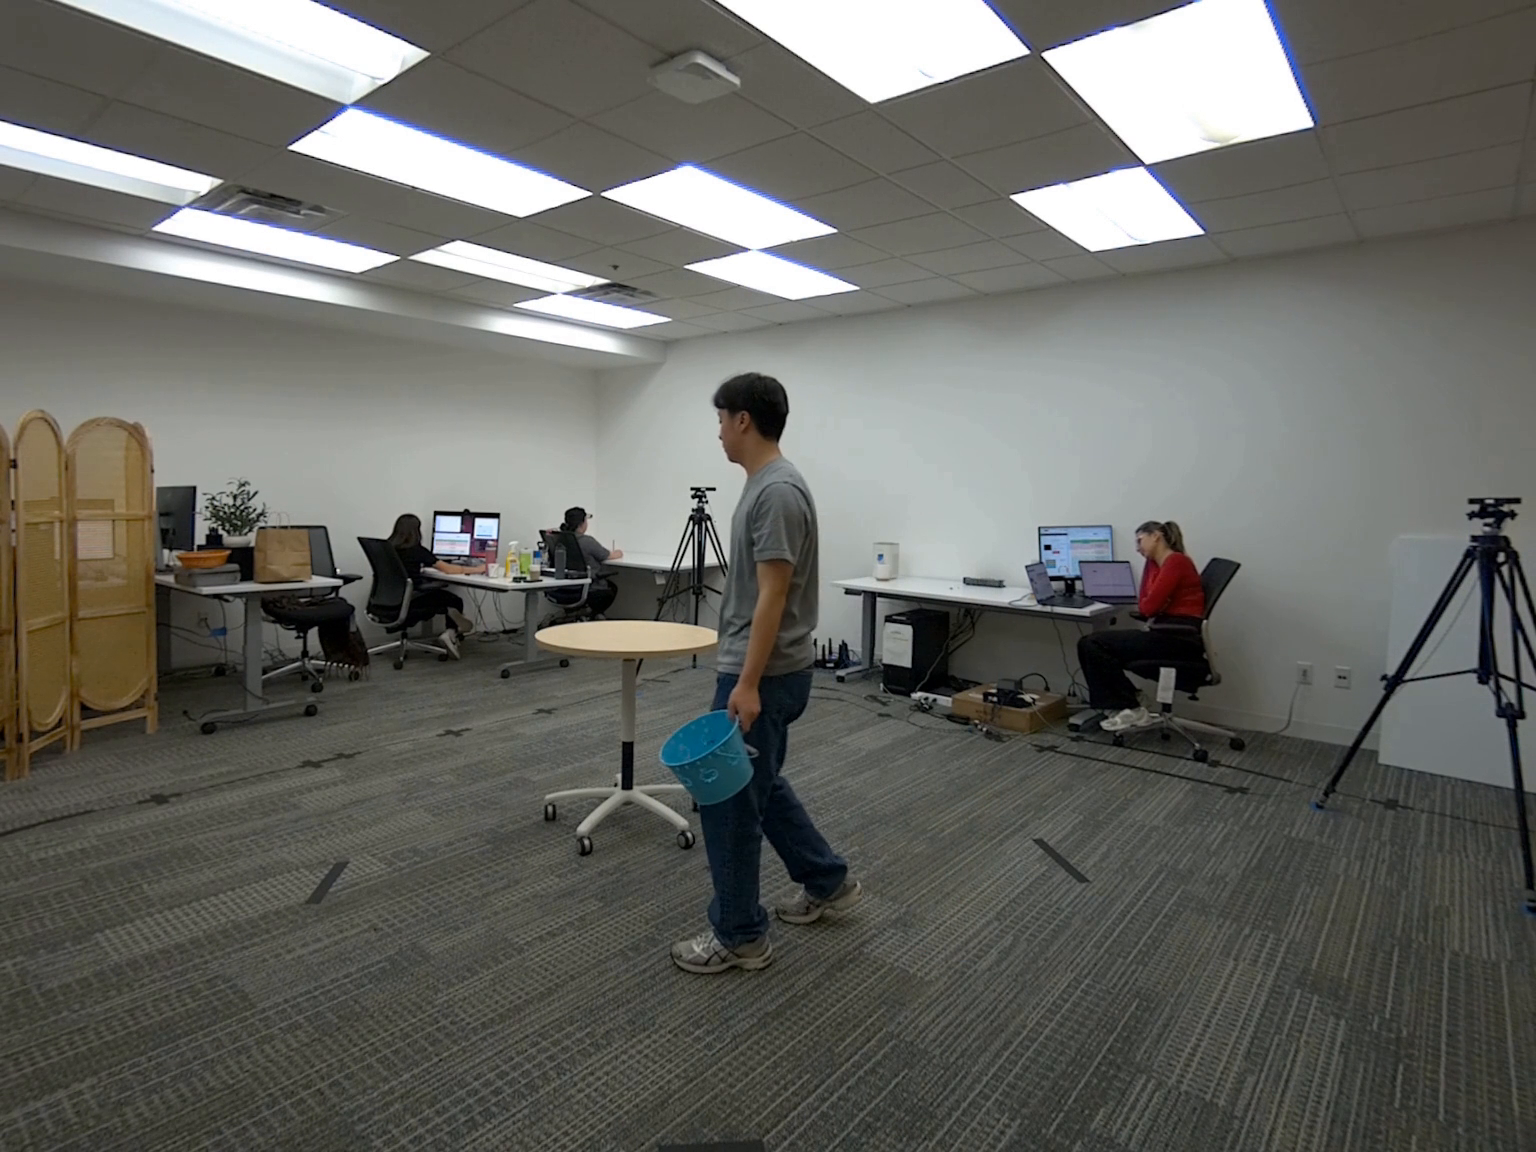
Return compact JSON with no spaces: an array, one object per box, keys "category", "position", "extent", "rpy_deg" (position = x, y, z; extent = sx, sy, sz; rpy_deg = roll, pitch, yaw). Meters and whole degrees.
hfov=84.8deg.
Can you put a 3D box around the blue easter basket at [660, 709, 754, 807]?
[{"category":"blue easter basket","position":[-0.161,0.482,2.283],"extent":[0.244,0.153,0.247],"rpy_deg":[-23,15,4]}]
